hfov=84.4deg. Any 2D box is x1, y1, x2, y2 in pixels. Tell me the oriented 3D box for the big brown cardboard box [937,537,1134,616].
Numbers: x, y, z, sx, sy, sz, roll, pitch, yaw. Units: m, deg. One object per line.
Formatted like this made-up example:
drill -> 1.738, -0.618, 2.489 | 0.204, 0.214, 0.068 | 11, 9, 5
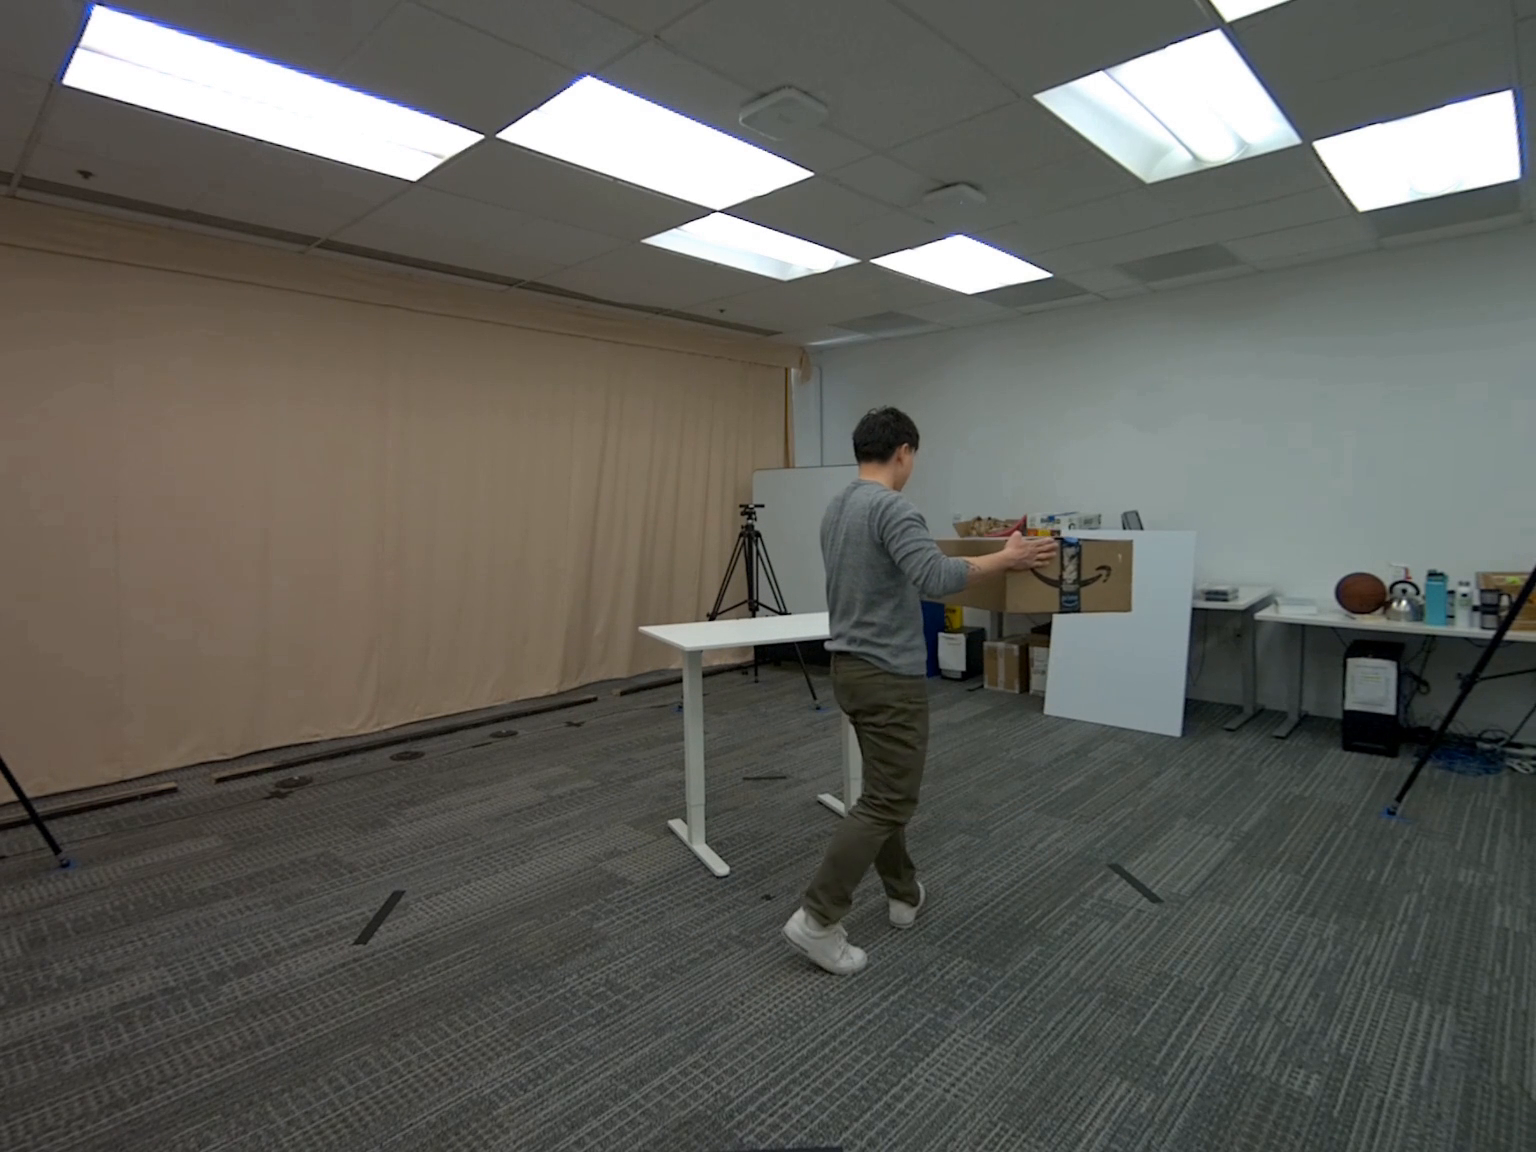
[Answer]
big brown cardboard box -> 0.811, -0.015, 2.721 | 0.411, 0.233, 0.598 | -1, 2, -15
